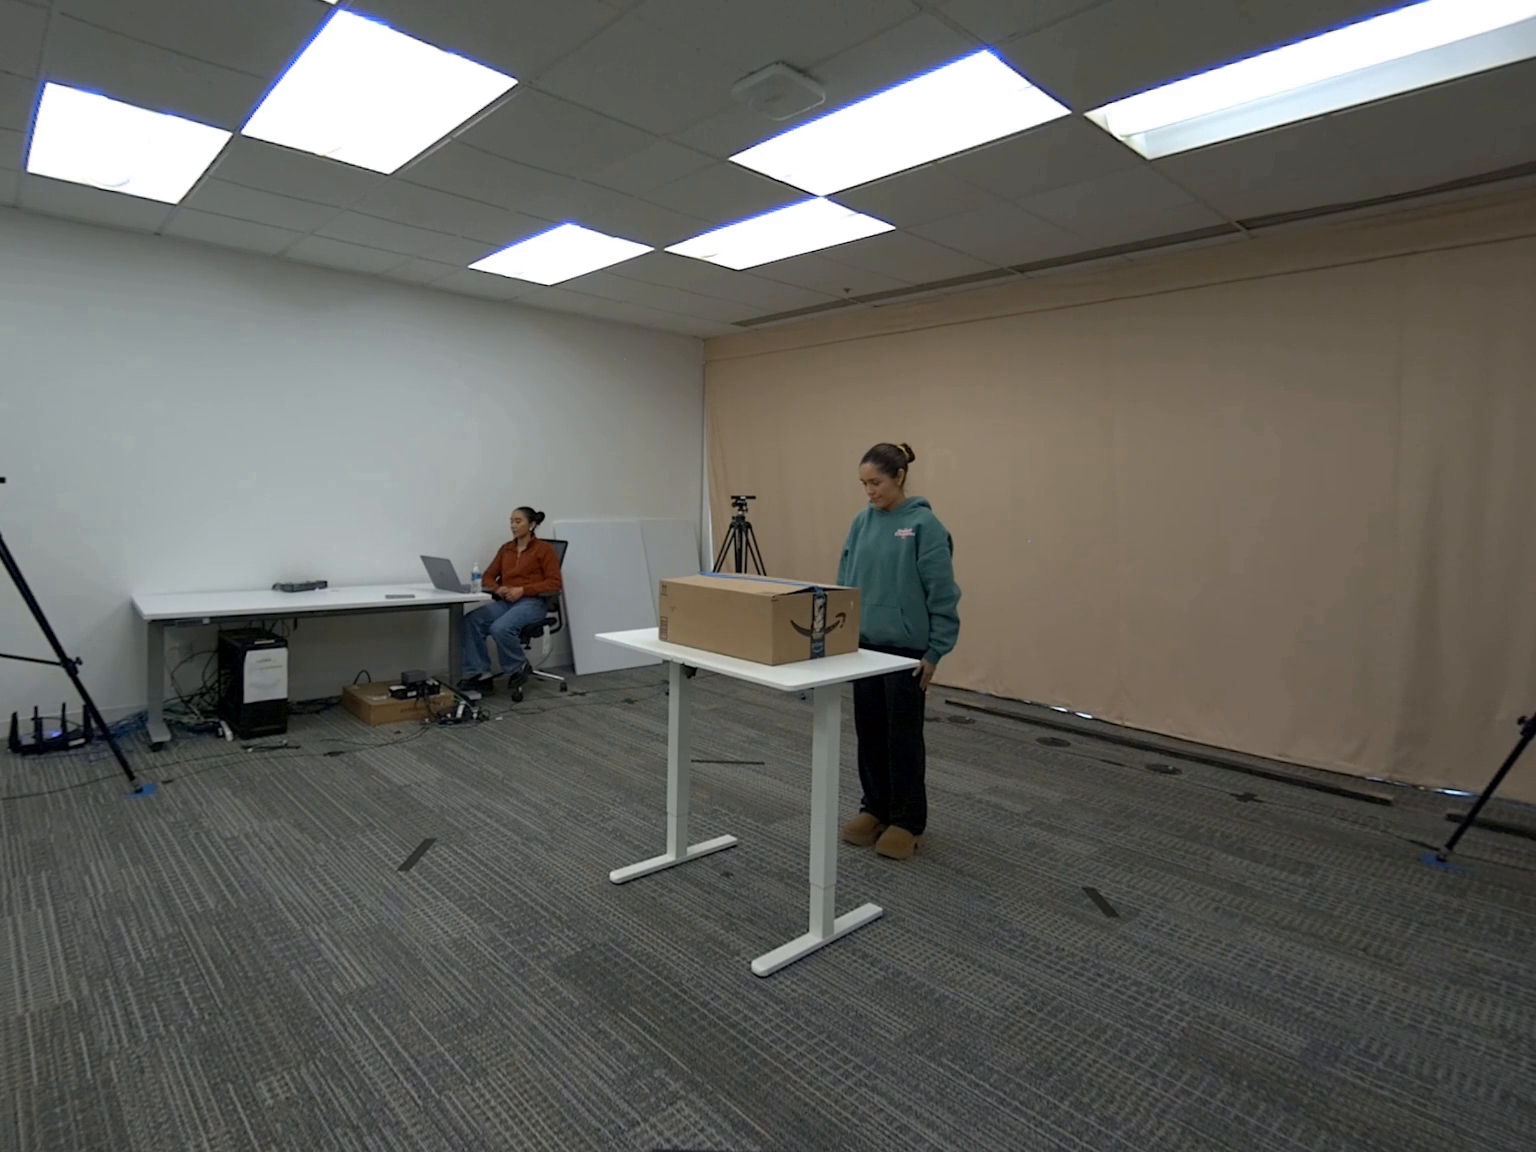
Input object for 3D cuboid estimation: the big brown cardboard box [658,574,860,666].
[{"bbox_3d":[-0.040,0.135,2.889,0.408,0.232,0.604,-4,7,-44],"label":"big brown cardboard box"}]
